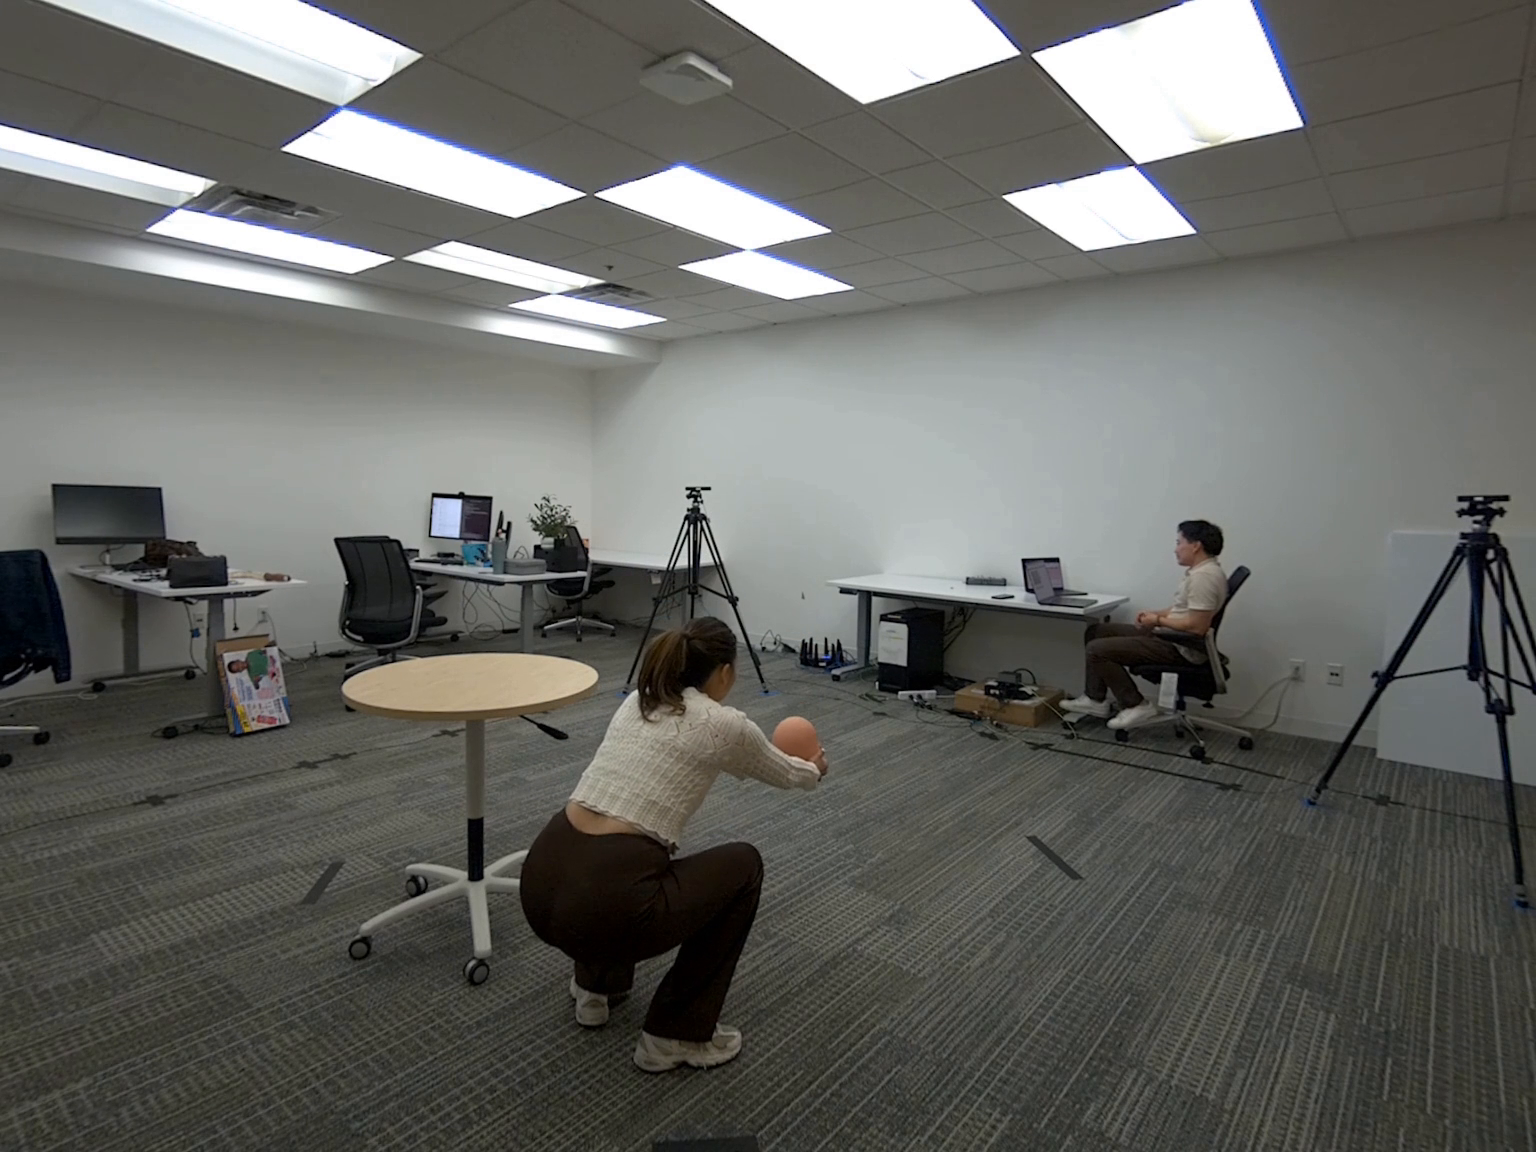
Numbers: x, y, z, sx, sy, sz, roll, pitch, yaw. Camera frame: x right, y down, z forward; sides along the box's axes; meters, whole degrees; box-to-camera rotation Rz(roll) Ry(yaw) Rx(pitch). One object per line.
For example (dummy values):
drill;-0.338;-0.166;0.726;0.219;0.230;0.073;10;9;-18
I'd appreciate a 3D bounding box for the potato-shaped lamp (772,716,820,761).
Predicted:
potato-shaped lamp;0.080;0.550;2.731;0.170;0.199;0.165;-1;-5;42
